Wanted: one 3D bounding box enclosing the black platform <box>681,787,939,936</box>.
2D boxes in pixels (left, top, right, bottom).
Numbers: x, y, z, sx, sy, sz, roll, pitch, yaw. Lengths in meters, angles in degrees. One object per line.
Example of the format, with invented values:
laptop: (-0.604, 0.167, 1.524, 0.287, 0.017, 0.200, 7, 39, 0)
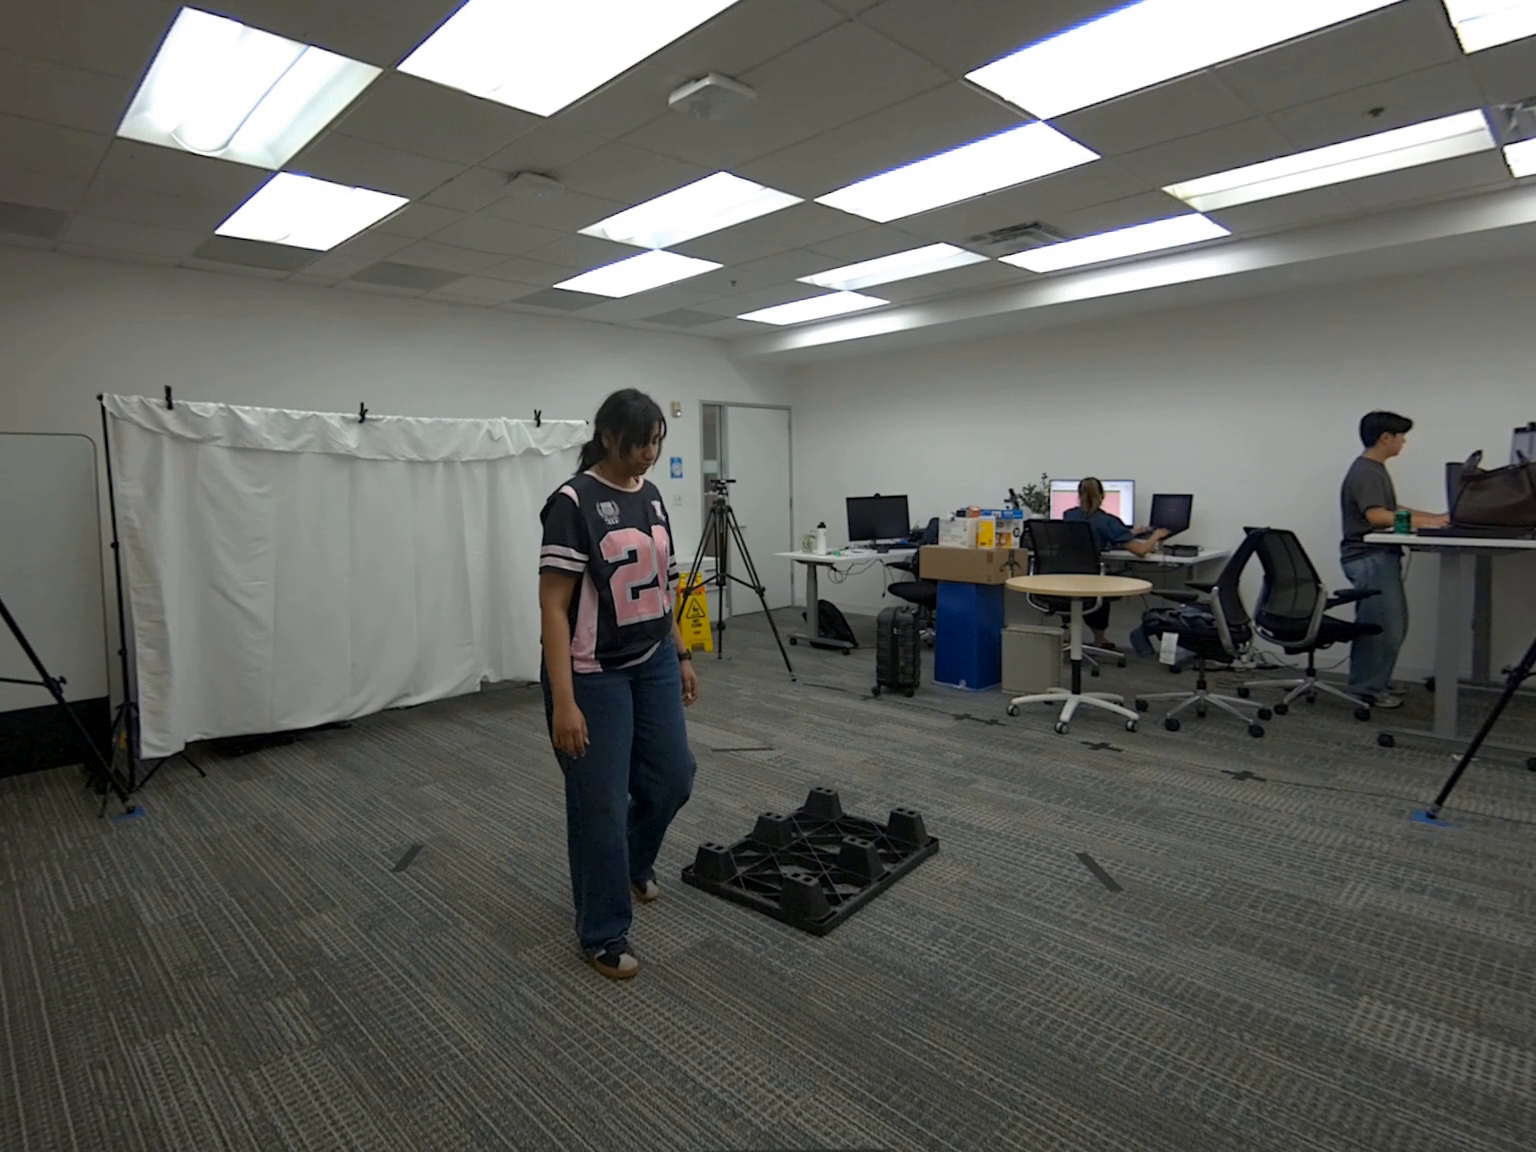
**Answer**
black platform: (0.172, 0.981, 3.083, 0.623, 0.142, 0.785, 3, 8, 39)
